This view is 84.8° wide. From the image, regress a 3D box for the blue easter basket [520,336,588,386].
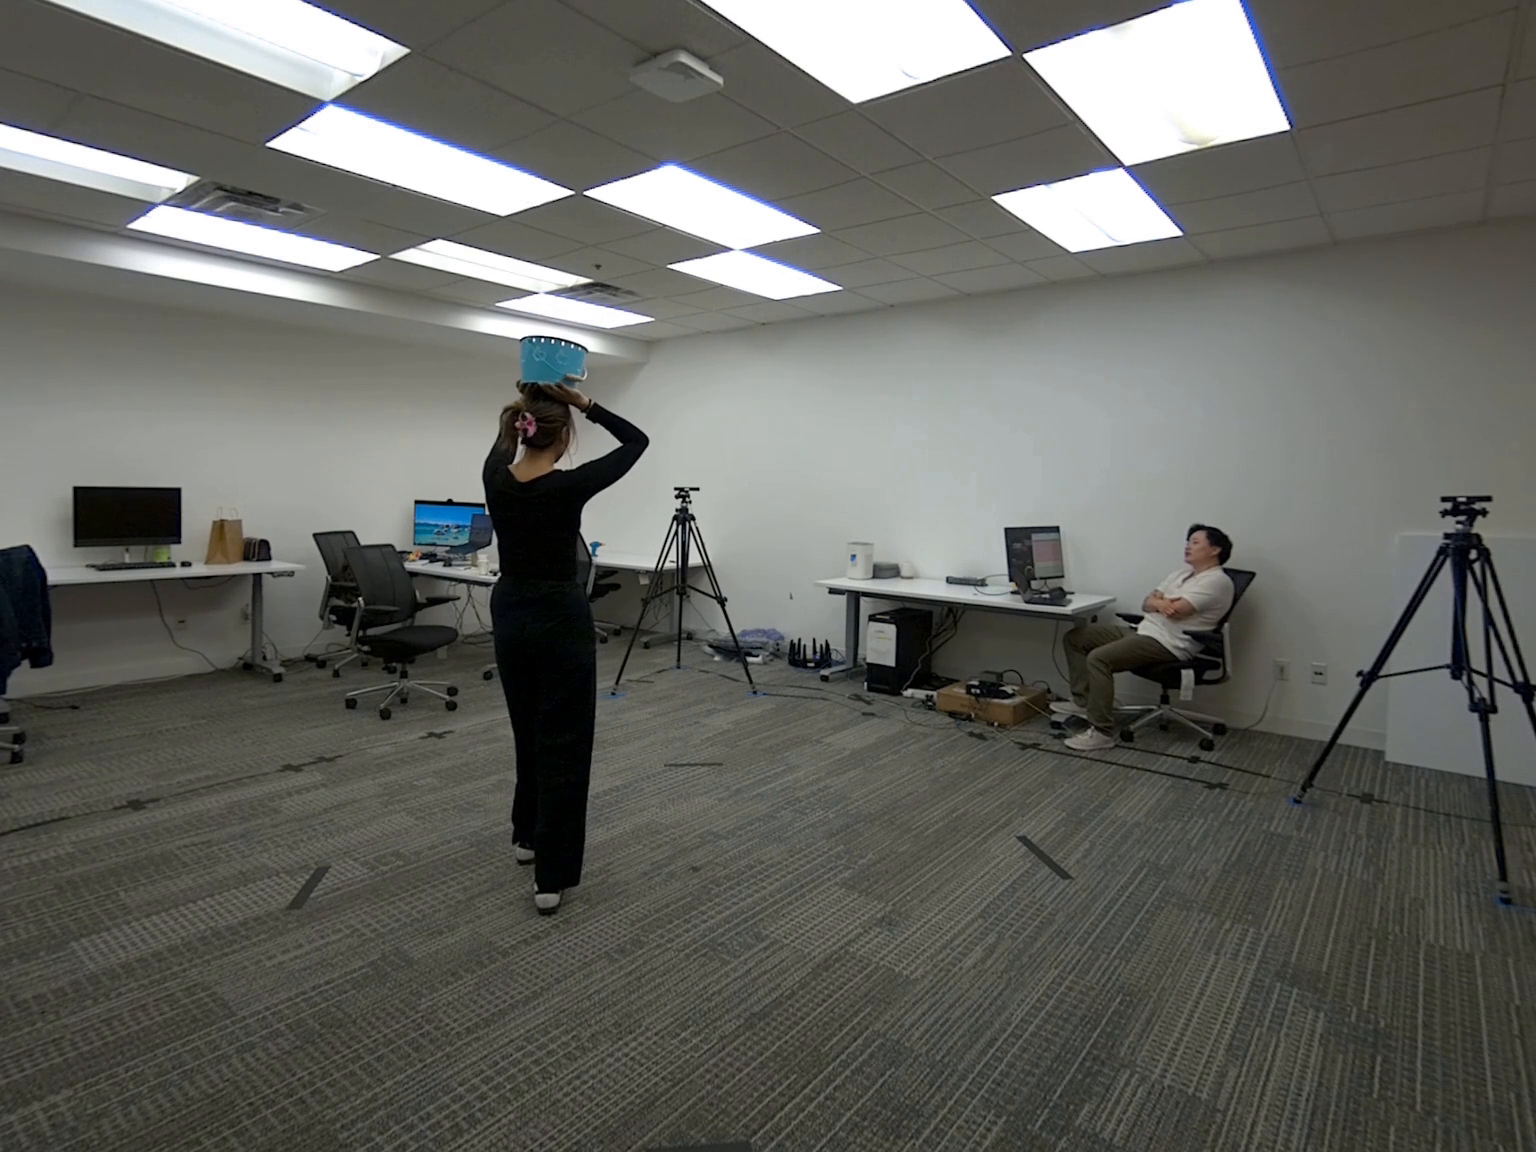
[{"bbox_3d":[-0.750,-0.710,2.875,0.243,0.156,0.243,4,-1,-2],"label":"blue easter basket"}]
